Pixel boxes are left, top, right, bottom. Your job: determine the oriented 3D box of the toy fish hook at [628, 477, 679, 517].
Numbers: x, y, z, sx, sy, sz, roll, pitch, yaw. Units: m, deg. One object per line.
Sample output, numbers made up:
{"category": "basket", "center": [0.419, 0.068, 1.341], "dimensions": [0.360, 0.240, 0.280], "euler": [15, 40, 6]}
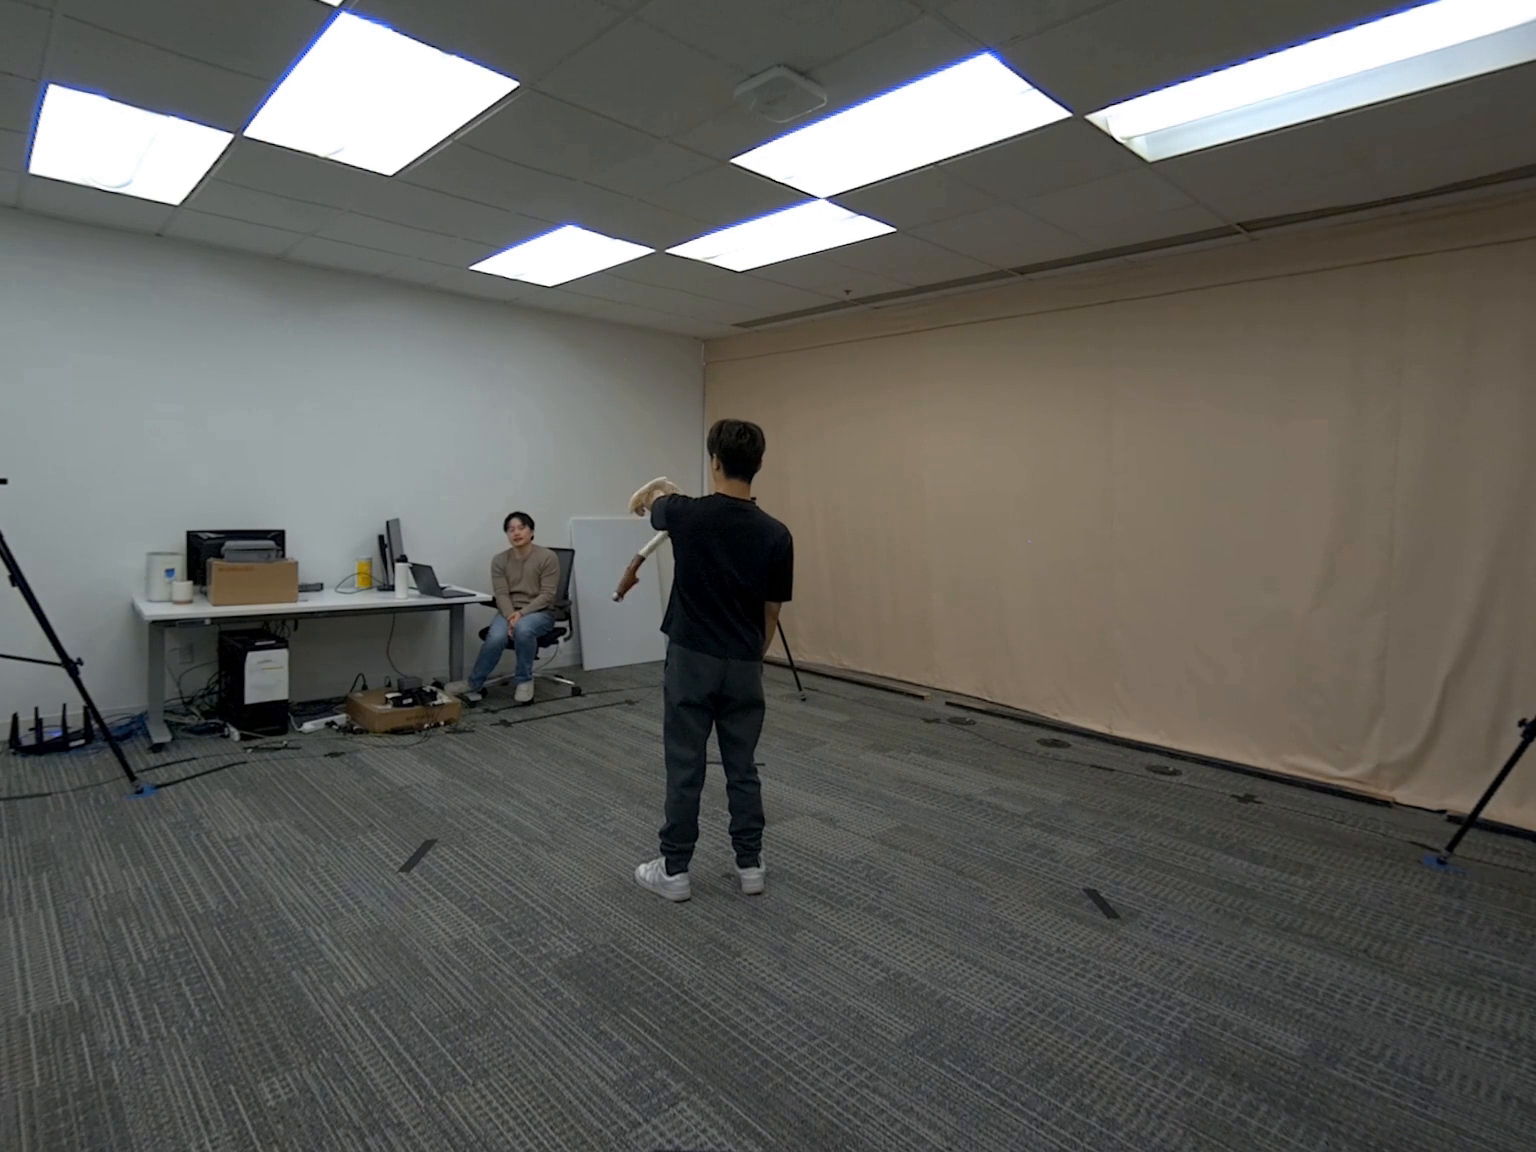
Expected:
{"category": "toy fish hook", "center": [-0.496, -0.143, 3.237], "dimensions": [0.219, 0.508, 0.049], "euler": [34, -13, -22]}
